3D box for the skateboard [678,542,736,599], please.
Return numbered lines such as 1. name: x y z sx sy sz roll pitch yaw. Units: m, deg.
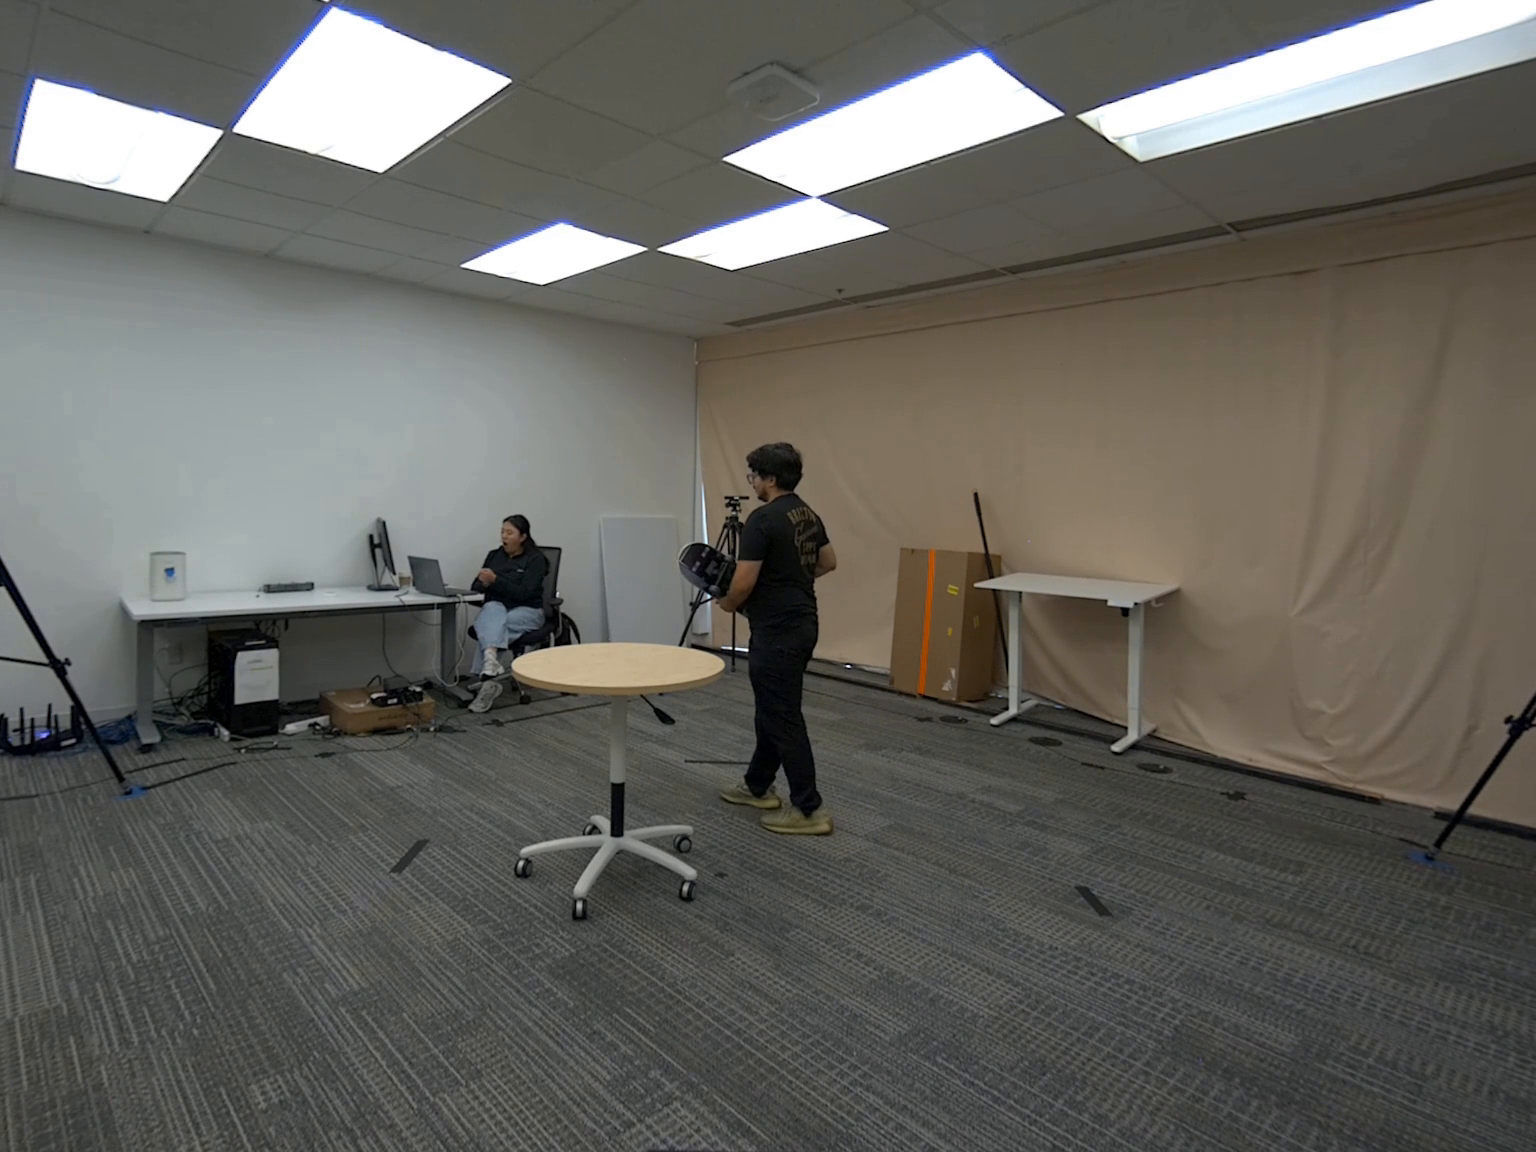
1. skateboard: -0.086 0.095 3.848 0.765 0.194 0.113 36 -17 -27
